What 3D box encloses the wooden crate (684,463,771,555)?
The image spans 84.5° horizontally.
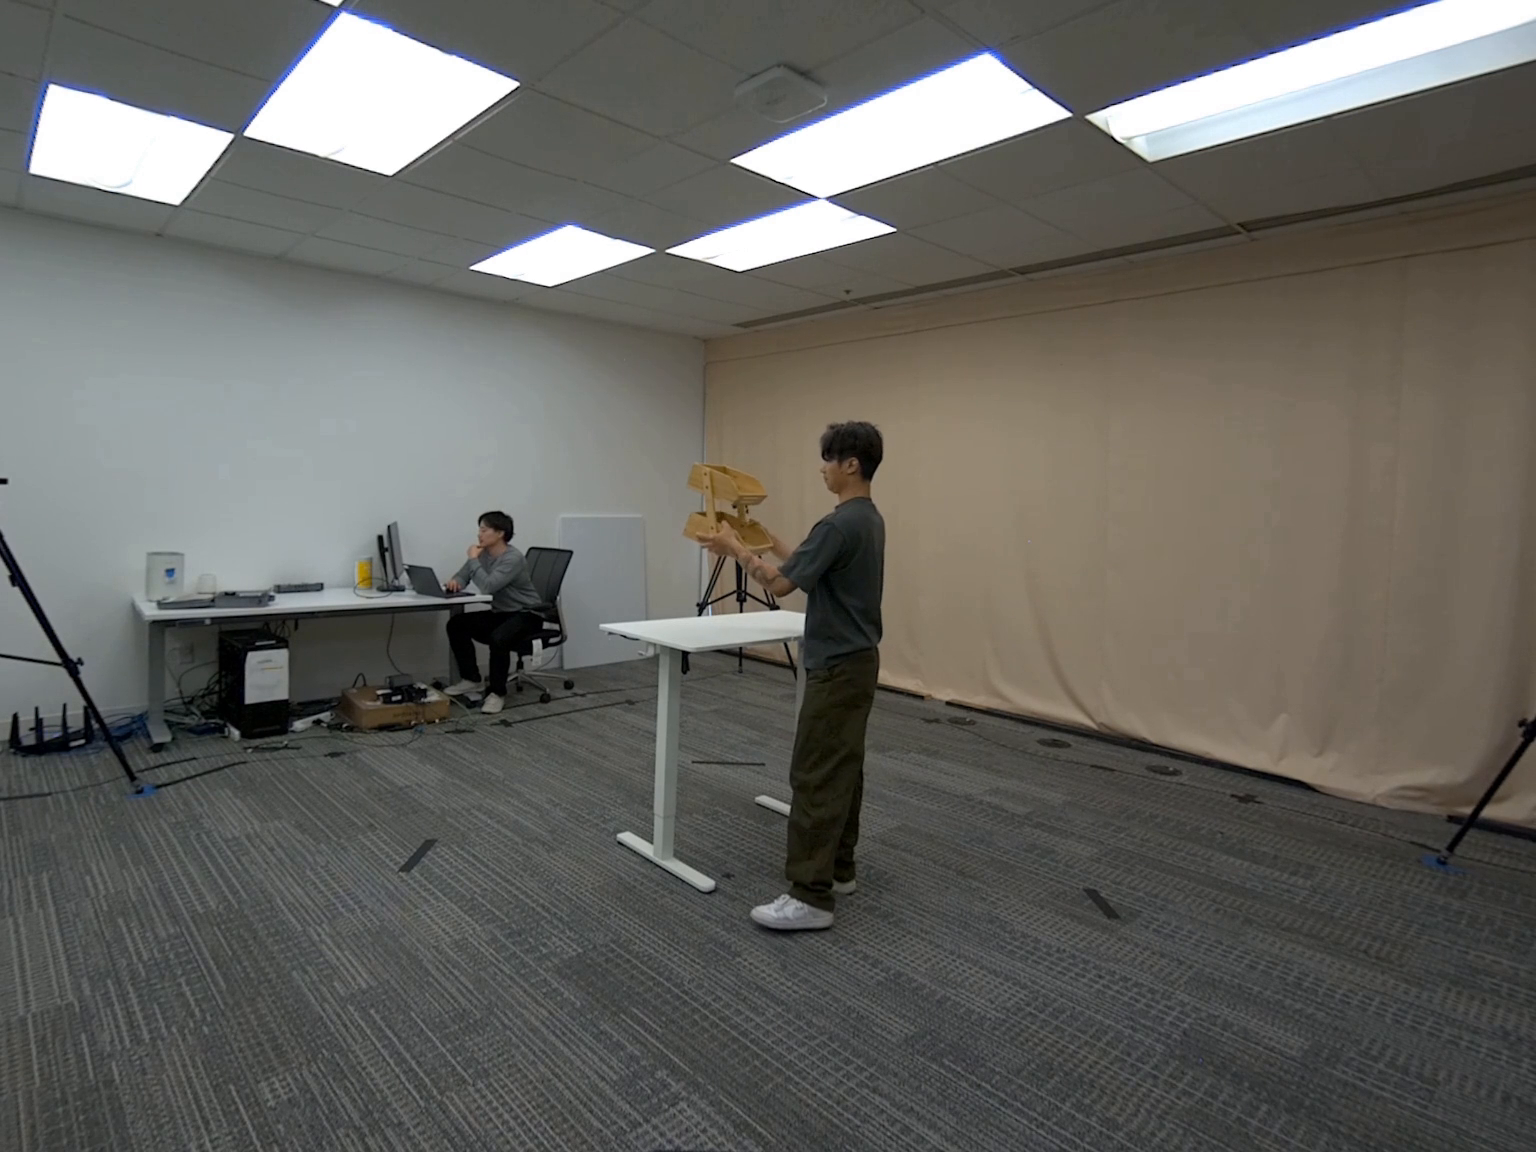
[{"bbox_3d":[-0.124,-0.244,3.105,0.307,0.272,0.320,22,11,17],"label":"wooden crate"}]
